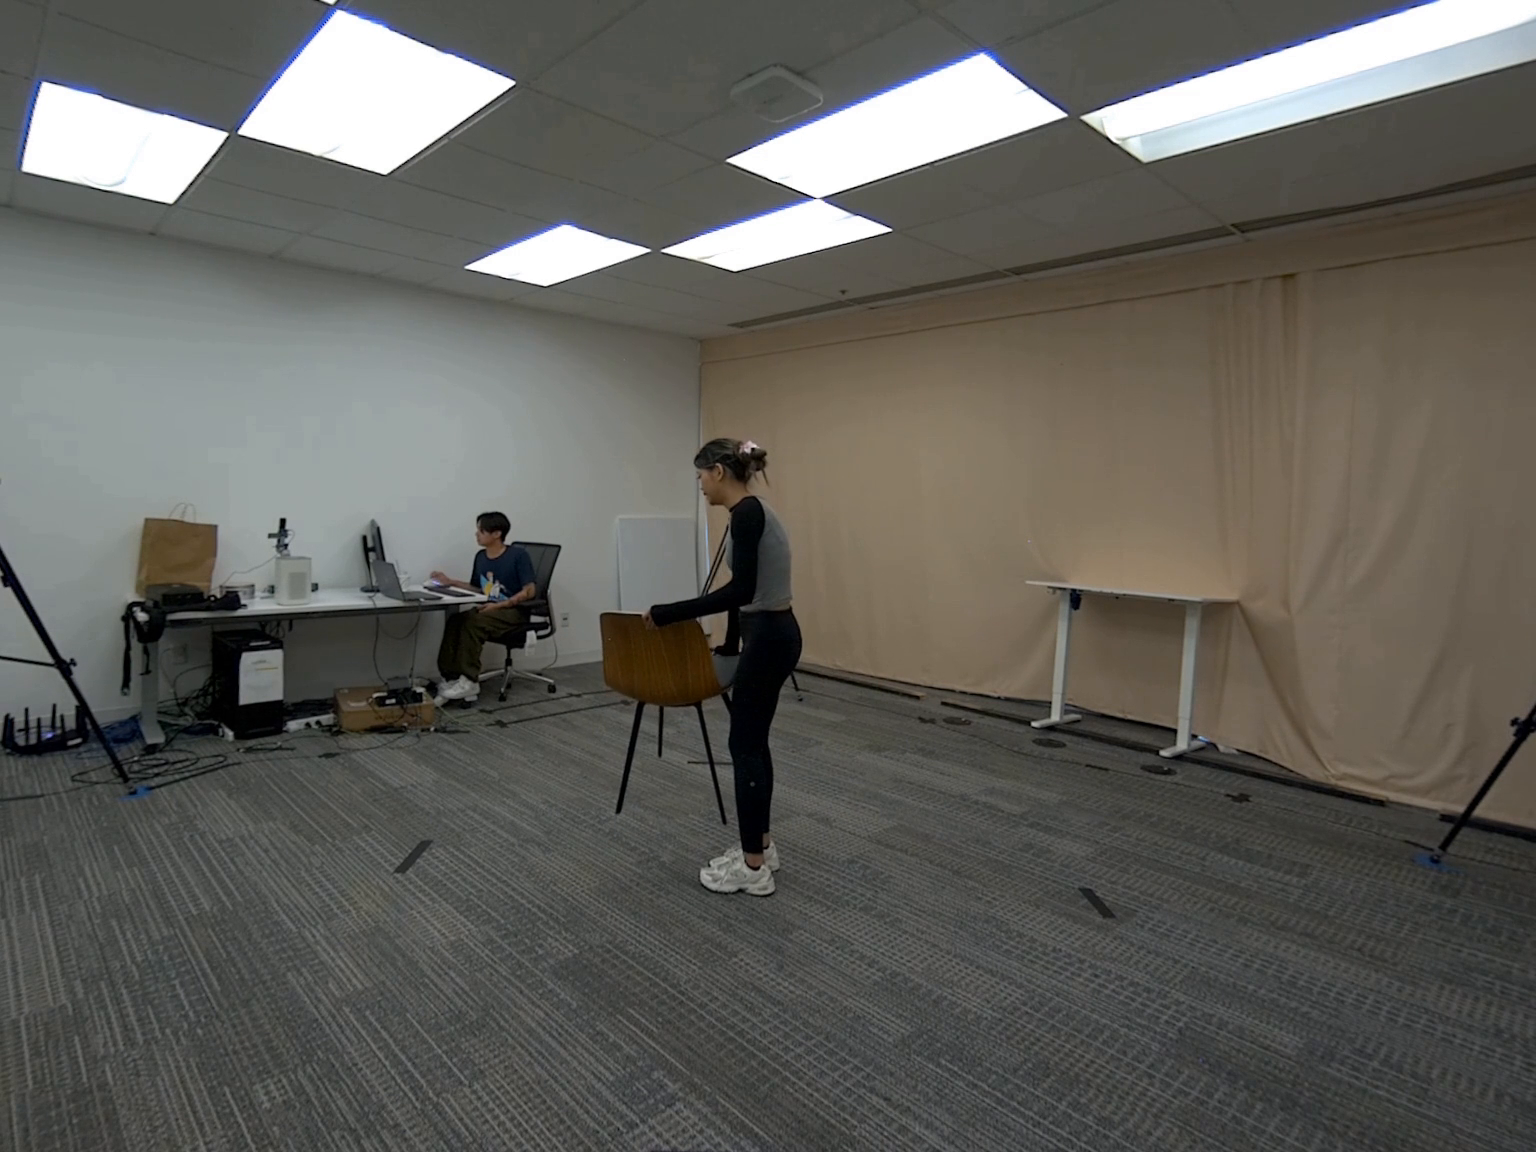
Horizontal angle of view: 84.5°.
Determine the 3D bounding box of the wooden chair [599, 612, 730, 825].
[{"bbox_3d":[-0.359,0.442,3.273,0.485,0.865,0.523,1,19,18],"label":"wooden chair"}]
